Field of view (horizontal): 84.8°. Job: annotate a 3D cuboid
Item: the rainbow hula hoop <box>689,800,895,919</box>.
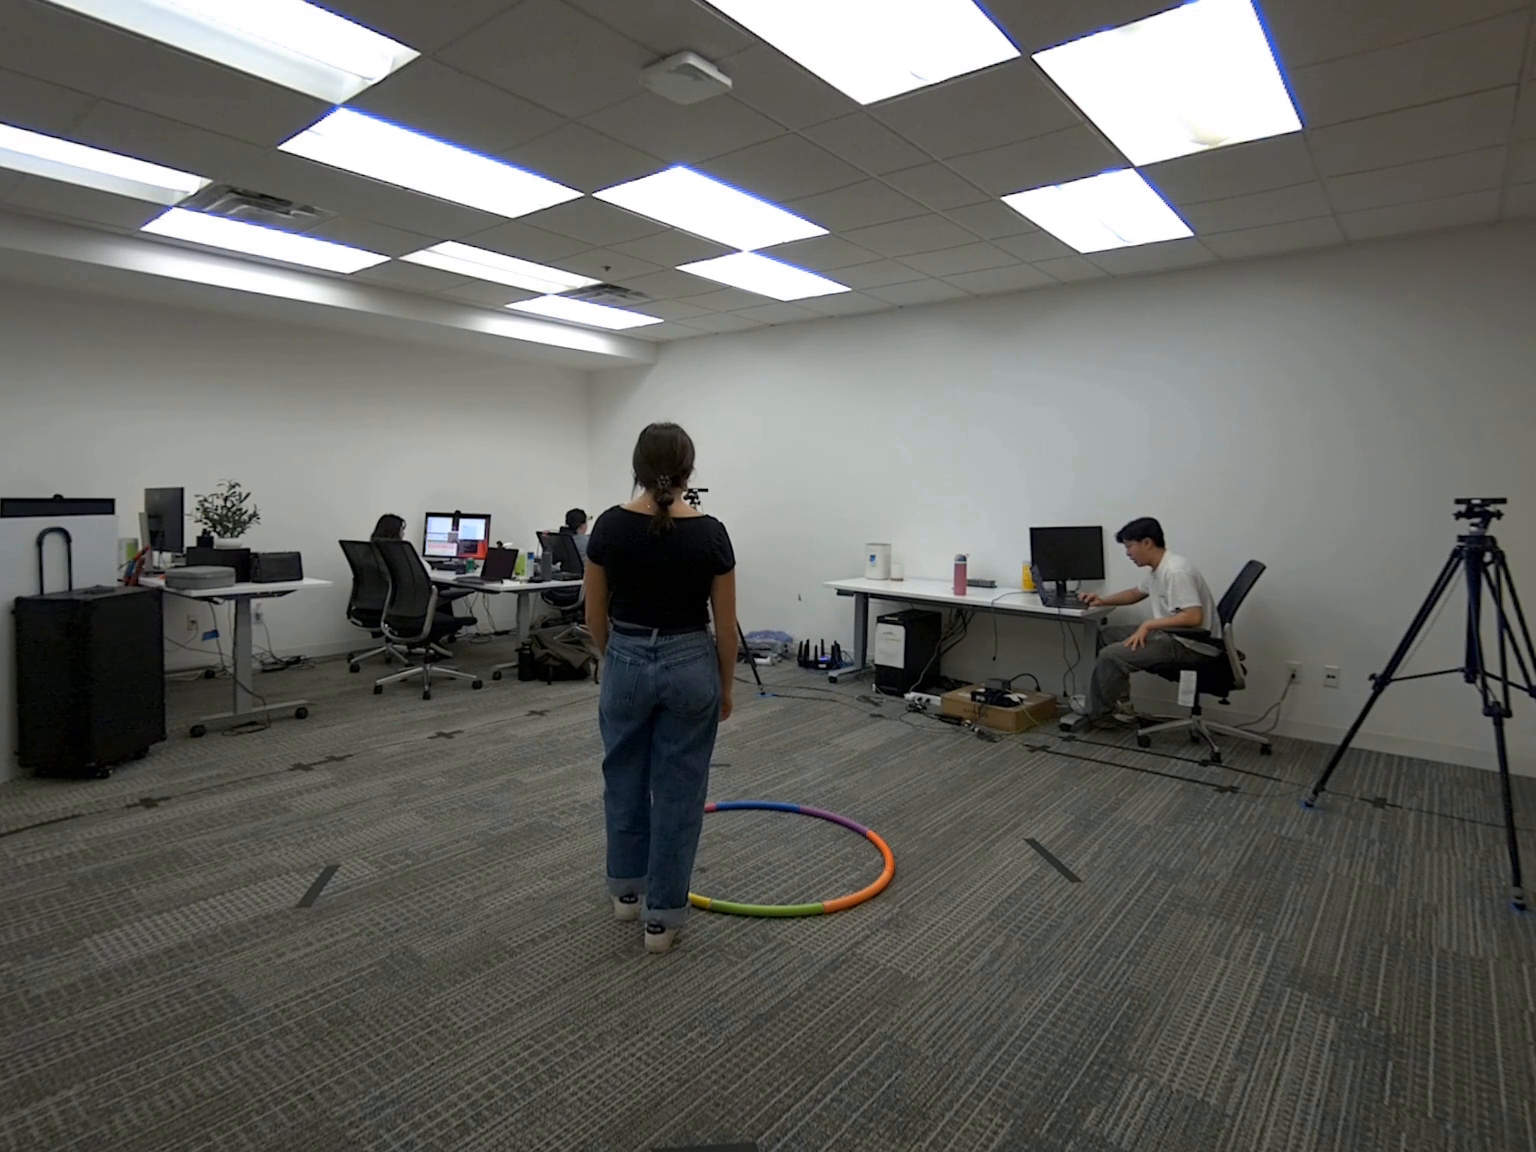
[{"bbox_3d":[-0.021,1.027,3.241,0.978,0.035,0.984,1,6,-2],"label":"rainbow hula hoop"}]
